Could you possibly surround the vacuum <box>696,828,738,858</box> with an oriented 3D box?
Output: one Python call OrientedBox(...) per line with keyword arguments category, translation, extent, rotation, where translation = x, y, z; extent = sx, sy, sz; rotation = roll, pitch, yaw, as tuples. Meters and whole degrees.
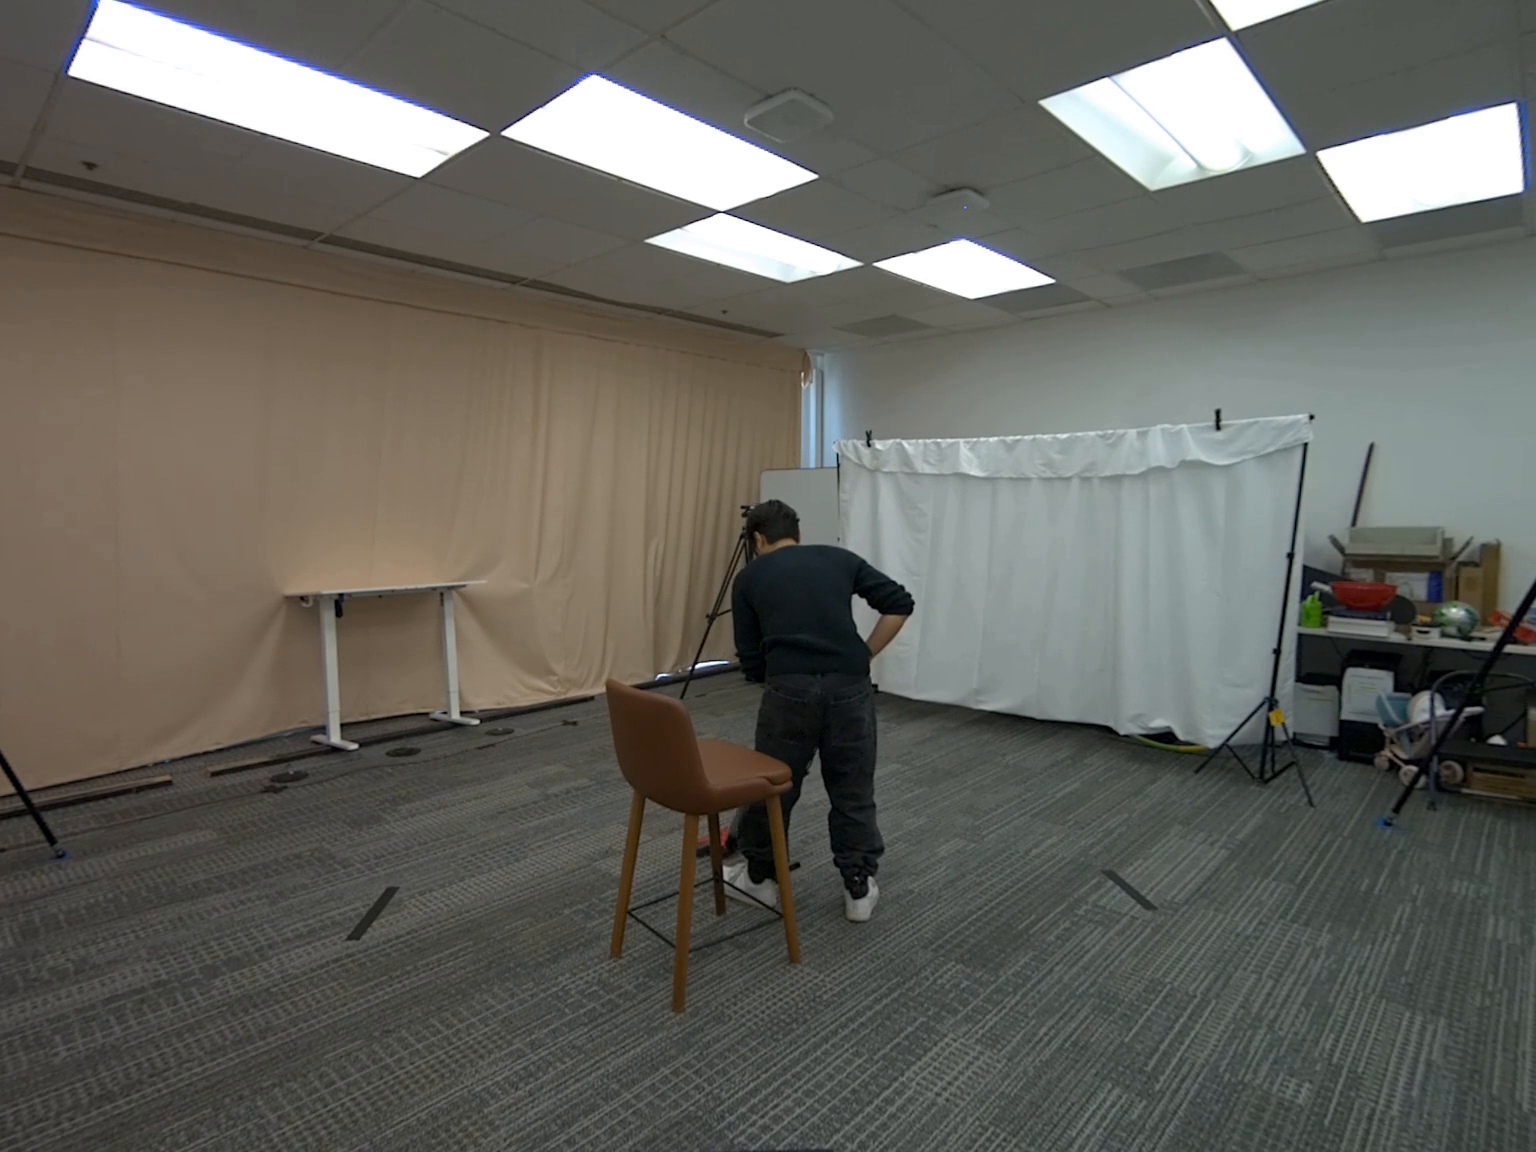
OrientedBox(category="vacuum", translation=(0.057, 0.725, 3.162), extent=(0.245, 1.052, 0.148), rotation=(-5, 49, -51))
